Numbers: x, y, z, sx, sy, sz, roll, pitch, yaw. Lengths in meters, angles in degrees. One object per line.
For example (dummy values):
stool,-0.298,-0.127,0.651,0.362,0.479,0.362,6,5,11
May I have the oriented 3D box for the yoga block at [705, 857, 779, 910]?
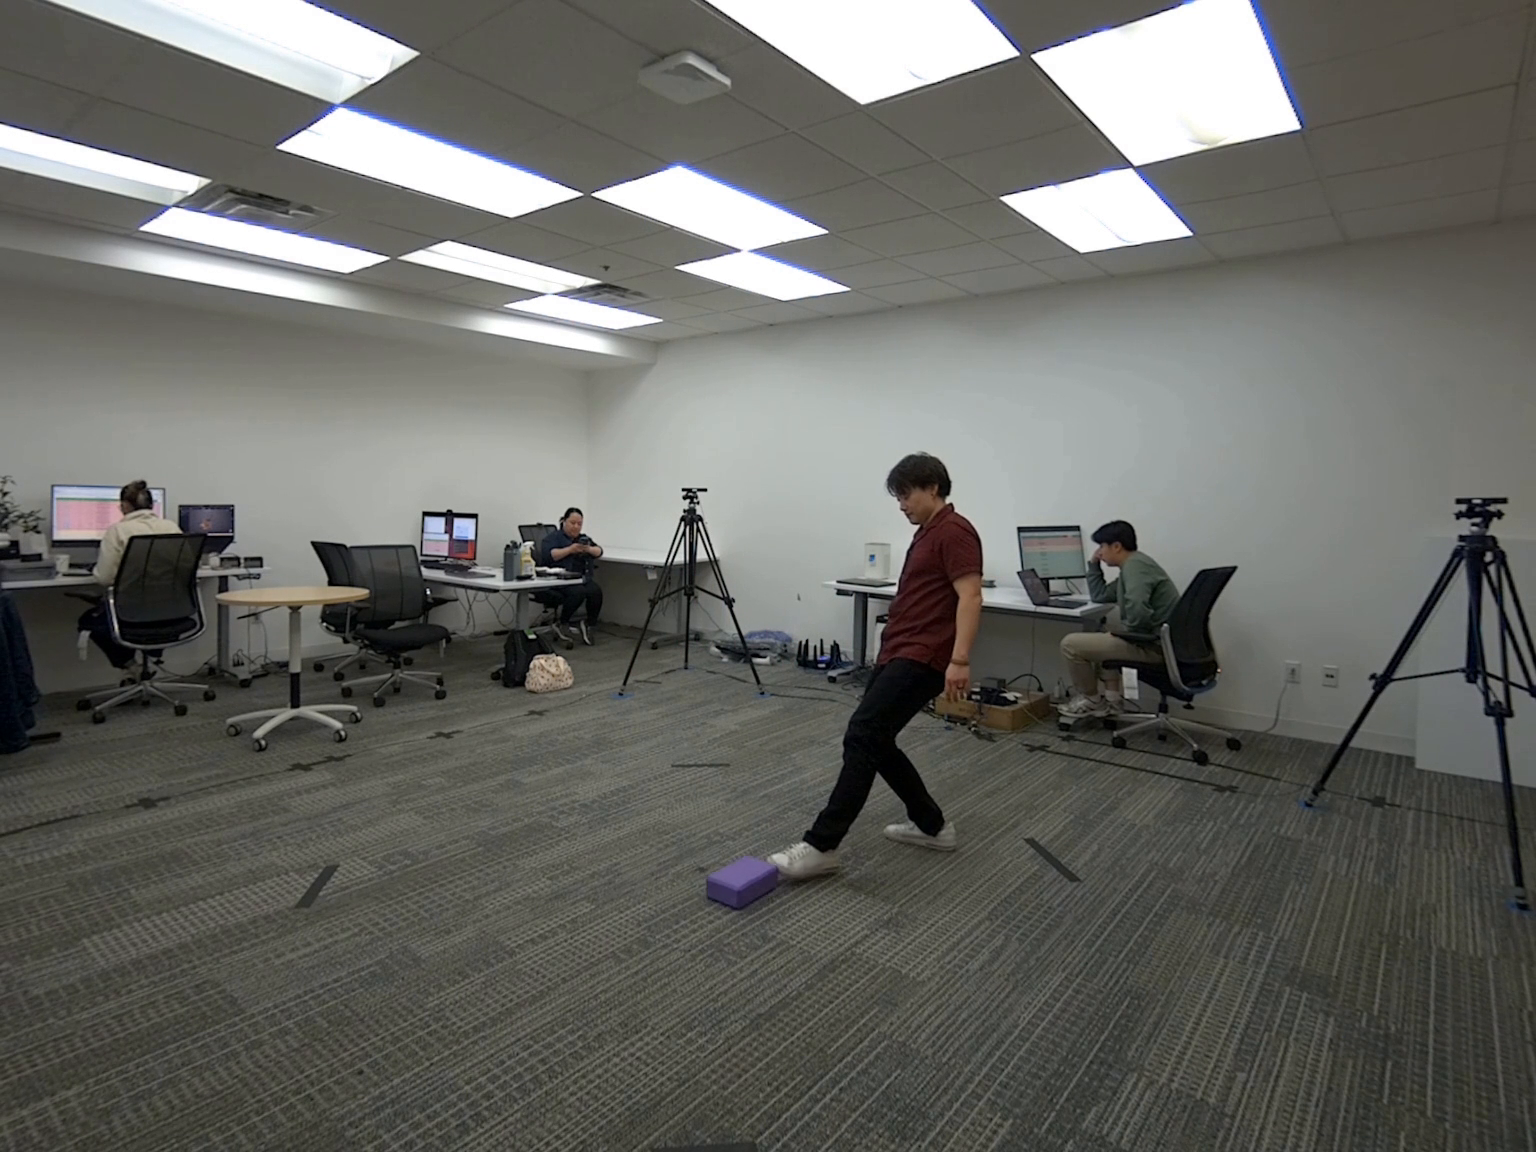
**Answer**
yoga block,-0.078,1.046,2.934,0.154,0.076,0.223,3,6,38
